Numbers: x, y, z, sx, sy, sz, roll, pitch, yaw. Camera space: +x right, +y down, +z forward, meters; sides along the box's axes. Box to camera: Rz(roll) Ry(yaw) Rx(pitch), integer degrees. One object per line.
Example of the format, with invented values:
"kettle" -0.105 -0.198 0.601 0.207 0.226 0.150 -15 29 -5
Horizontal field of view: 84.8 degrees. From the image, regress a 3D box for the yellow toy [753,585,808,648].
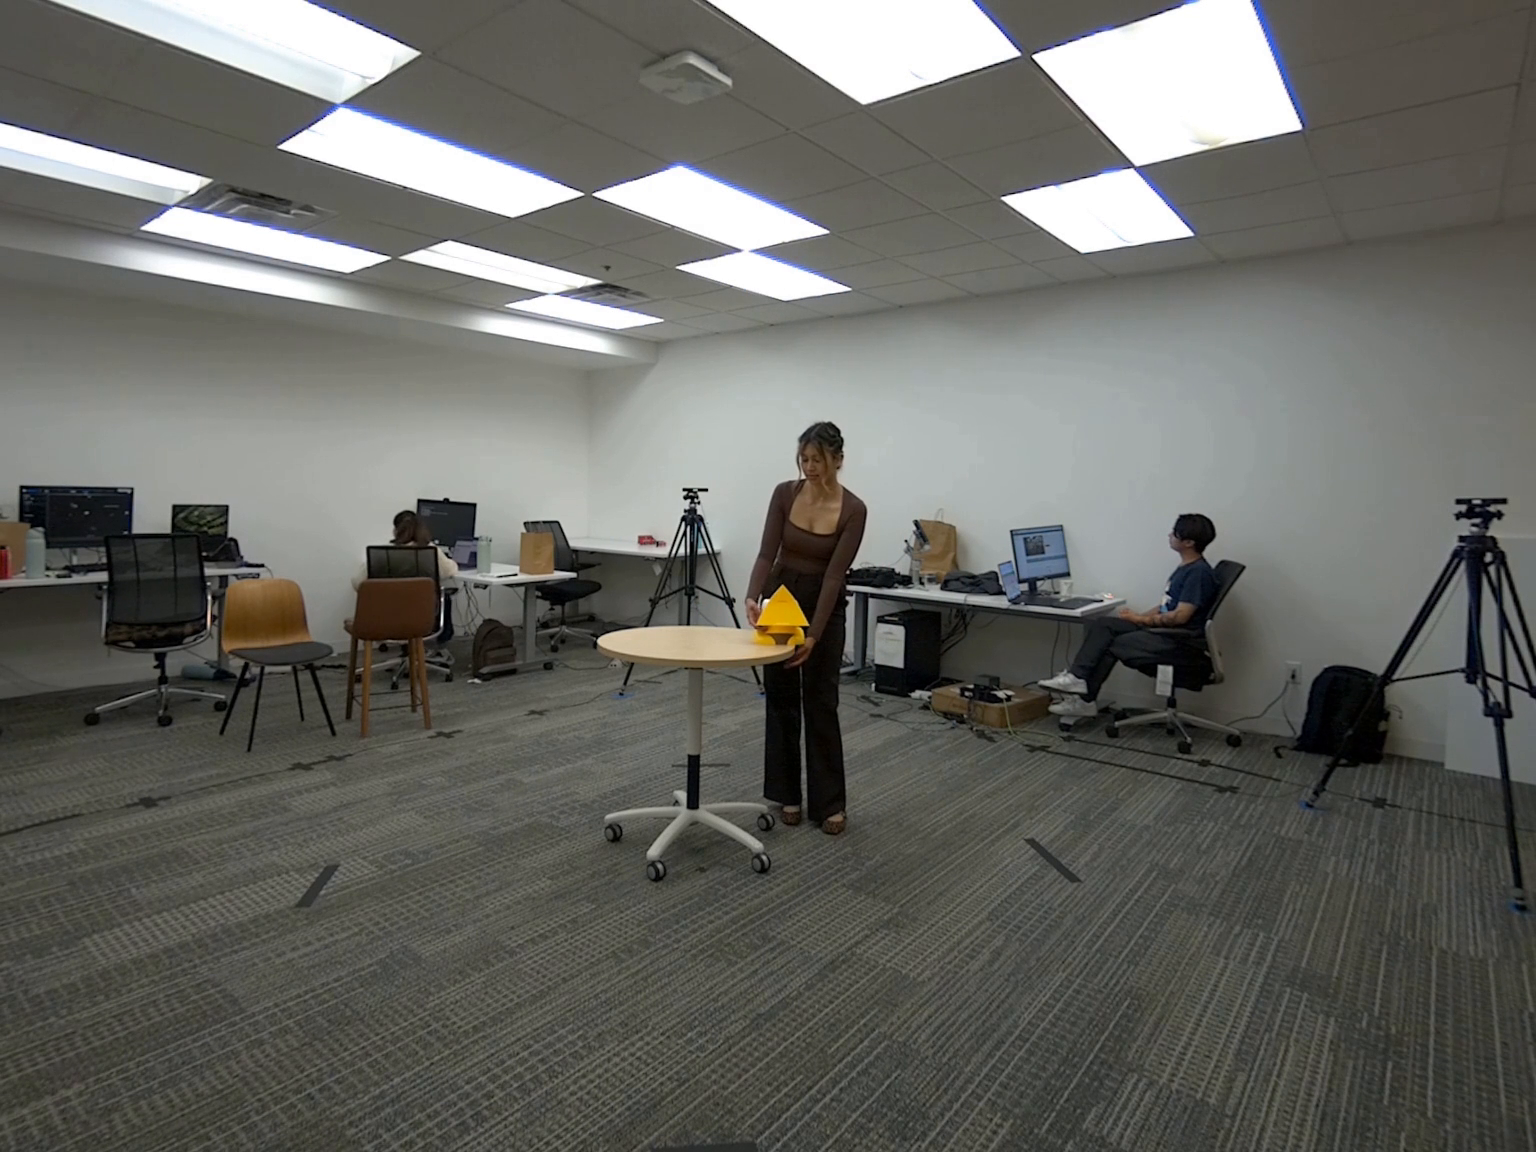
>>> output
"yellow toy" 0.034 0.139 3.341 0.203 0.230 0.195 1 5 -7
